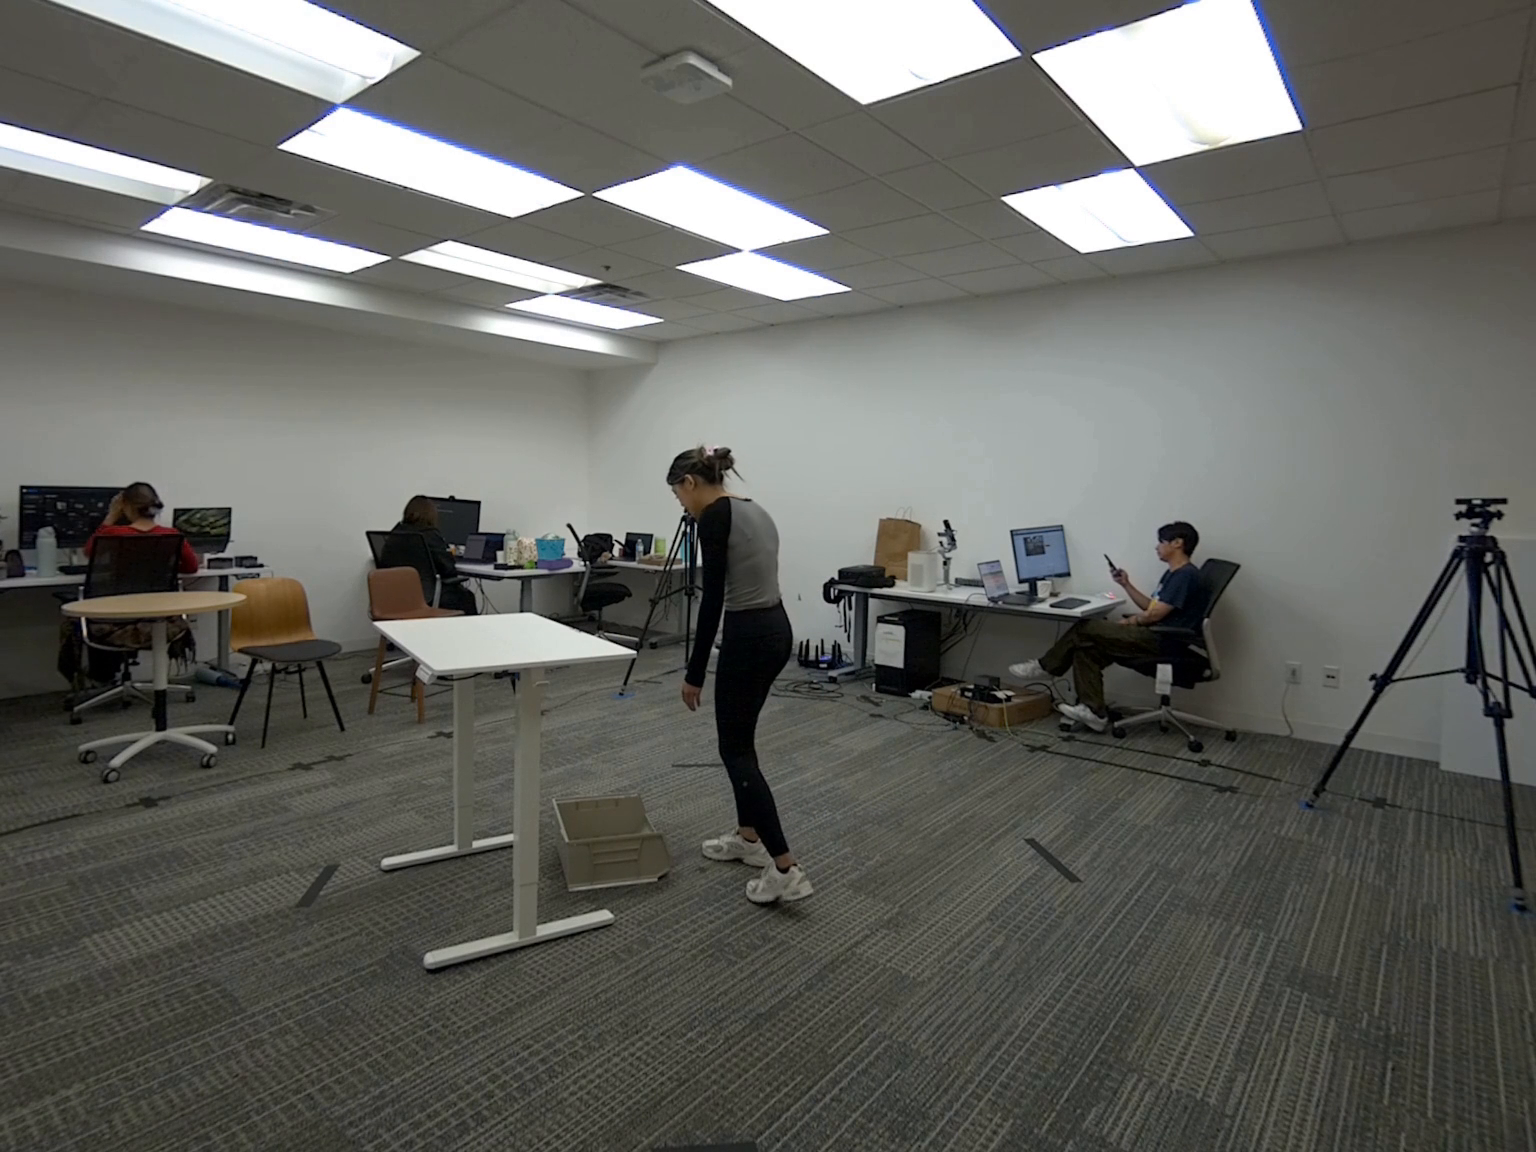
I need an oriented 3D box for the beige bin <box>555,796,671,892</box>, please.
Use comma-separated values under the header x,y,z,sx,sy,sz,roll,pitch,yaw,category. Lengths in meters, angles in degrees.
x,y,z,sx,sy,sz,roll,pitch,yaw,category
-0.597,0.967,3.151,0.370,0.188,0.433,-2,7,-20,beige bin
